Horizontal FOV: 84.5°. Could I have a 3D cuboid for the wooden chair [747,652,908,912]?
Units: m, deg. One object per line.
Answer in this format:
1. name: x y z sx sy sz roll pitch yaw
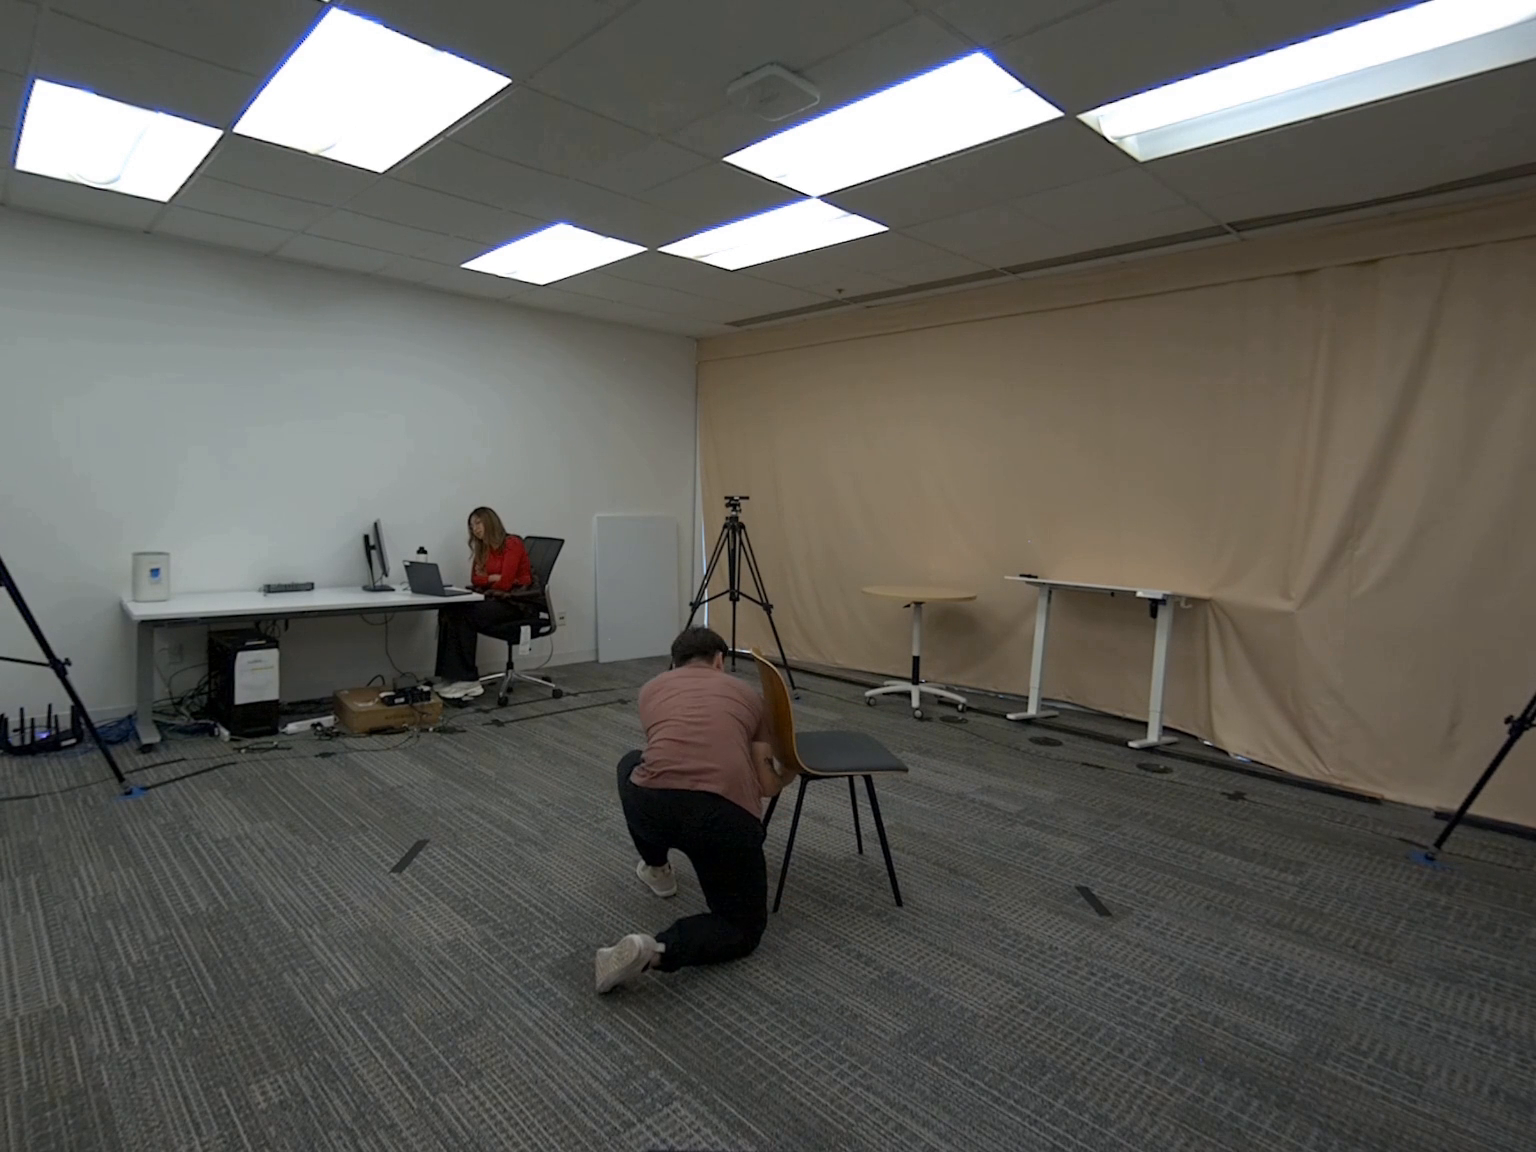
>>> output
1. wooden chair: 0.211 0.689 3.056 0.519 0.876 0.482 -3 3 -10
